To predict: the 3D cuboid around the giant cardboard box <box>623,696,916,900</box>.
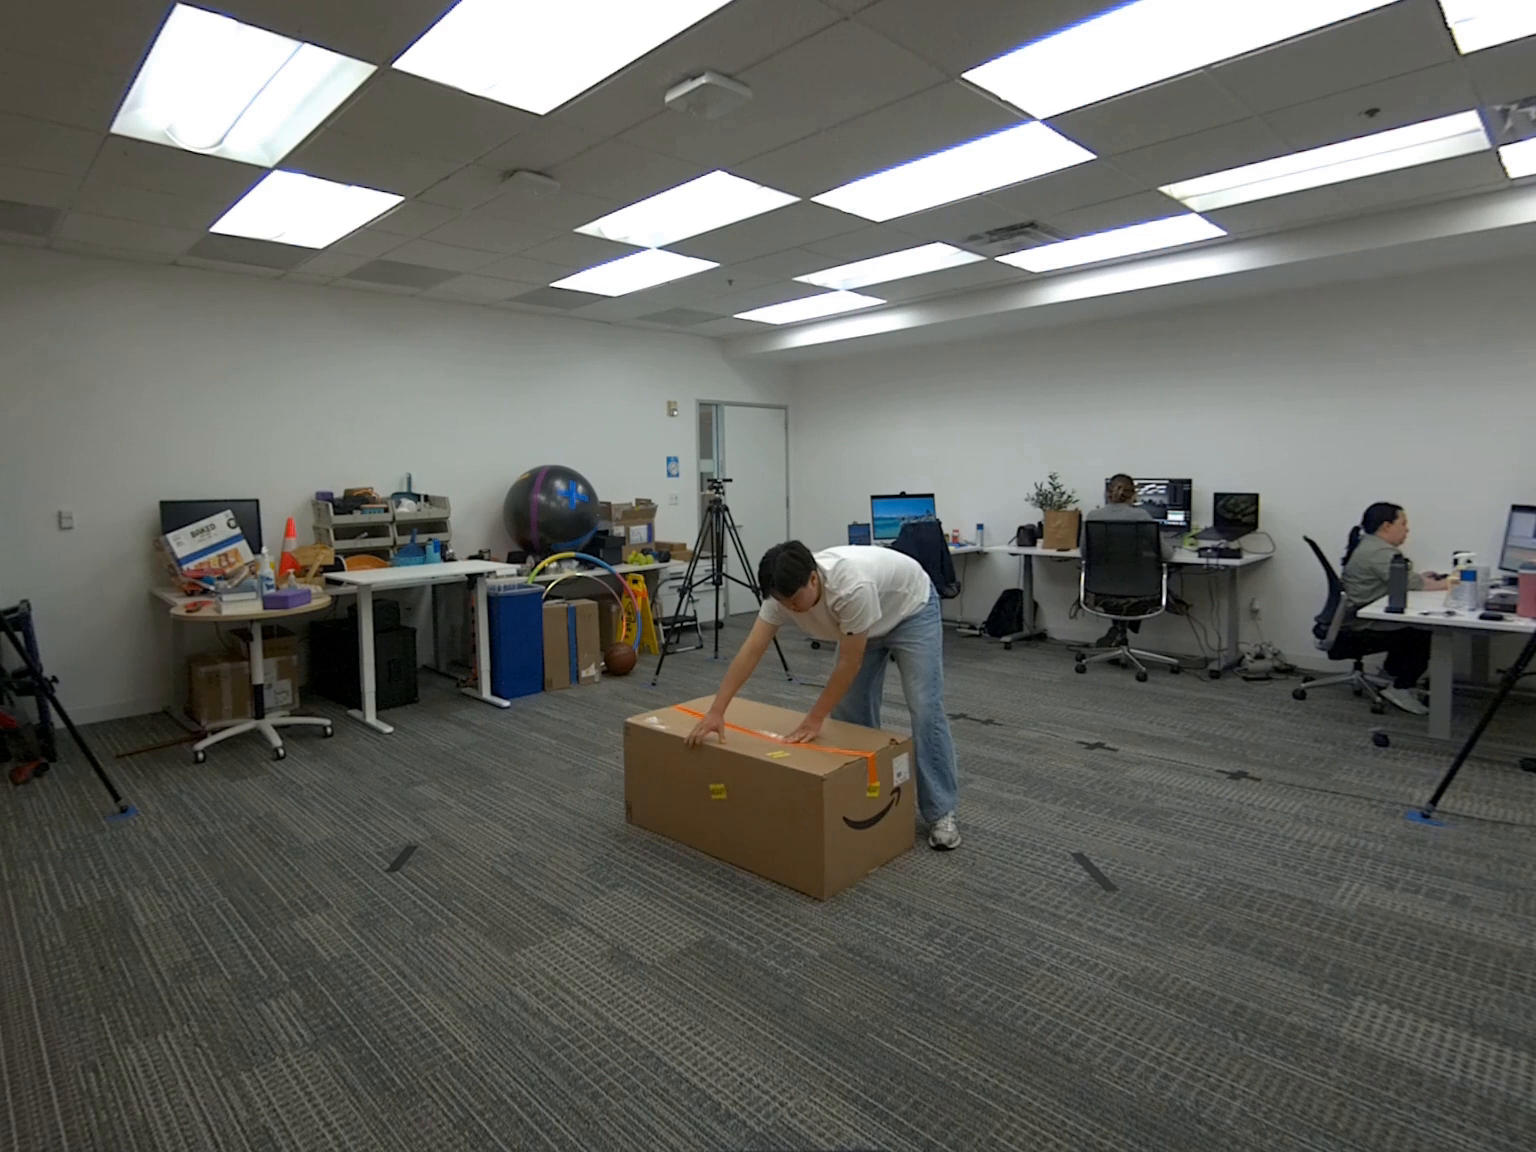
[{"bbox_3d":[-0.021,0.810,3.353,1.057,0.424,0.562,5,8,42],"label":"giant cardboard box"}]
